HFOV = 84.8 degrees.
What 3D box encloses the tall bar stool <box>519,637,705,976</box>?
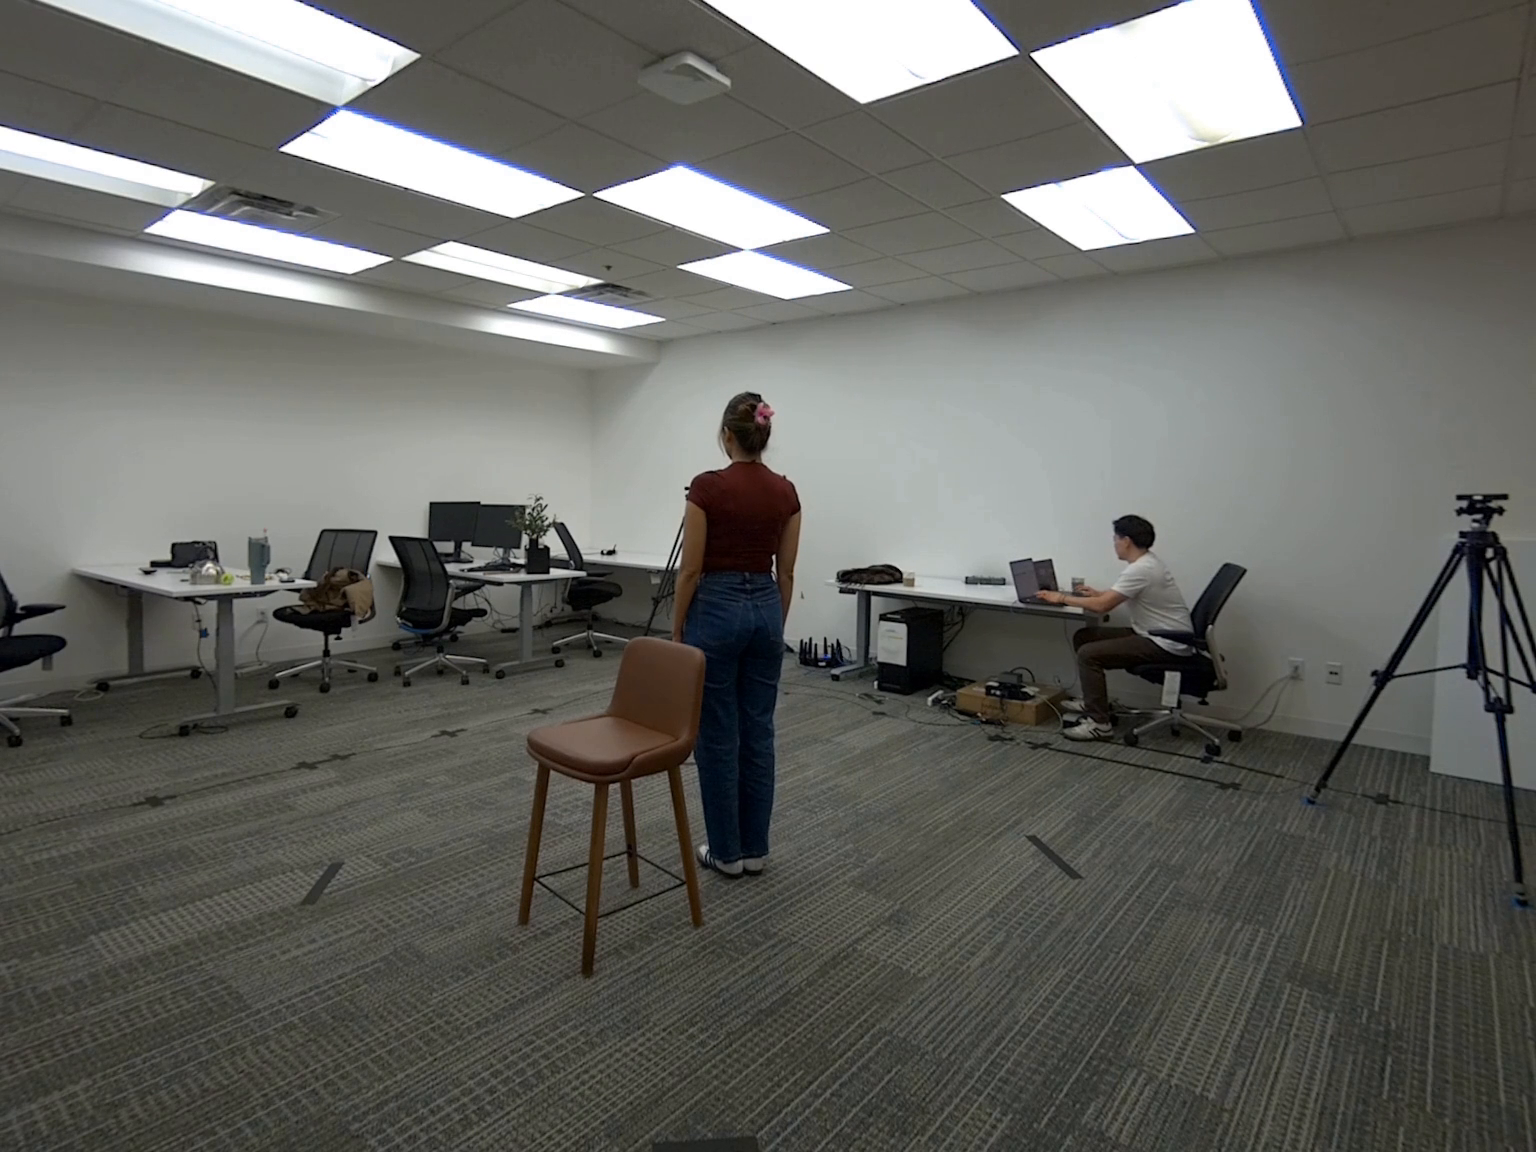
[{"bbox_3d":[-0.494,0.668,2.678,0.453,0.888,0.472,0,3,-42],"label":"tall bar stool"}]
